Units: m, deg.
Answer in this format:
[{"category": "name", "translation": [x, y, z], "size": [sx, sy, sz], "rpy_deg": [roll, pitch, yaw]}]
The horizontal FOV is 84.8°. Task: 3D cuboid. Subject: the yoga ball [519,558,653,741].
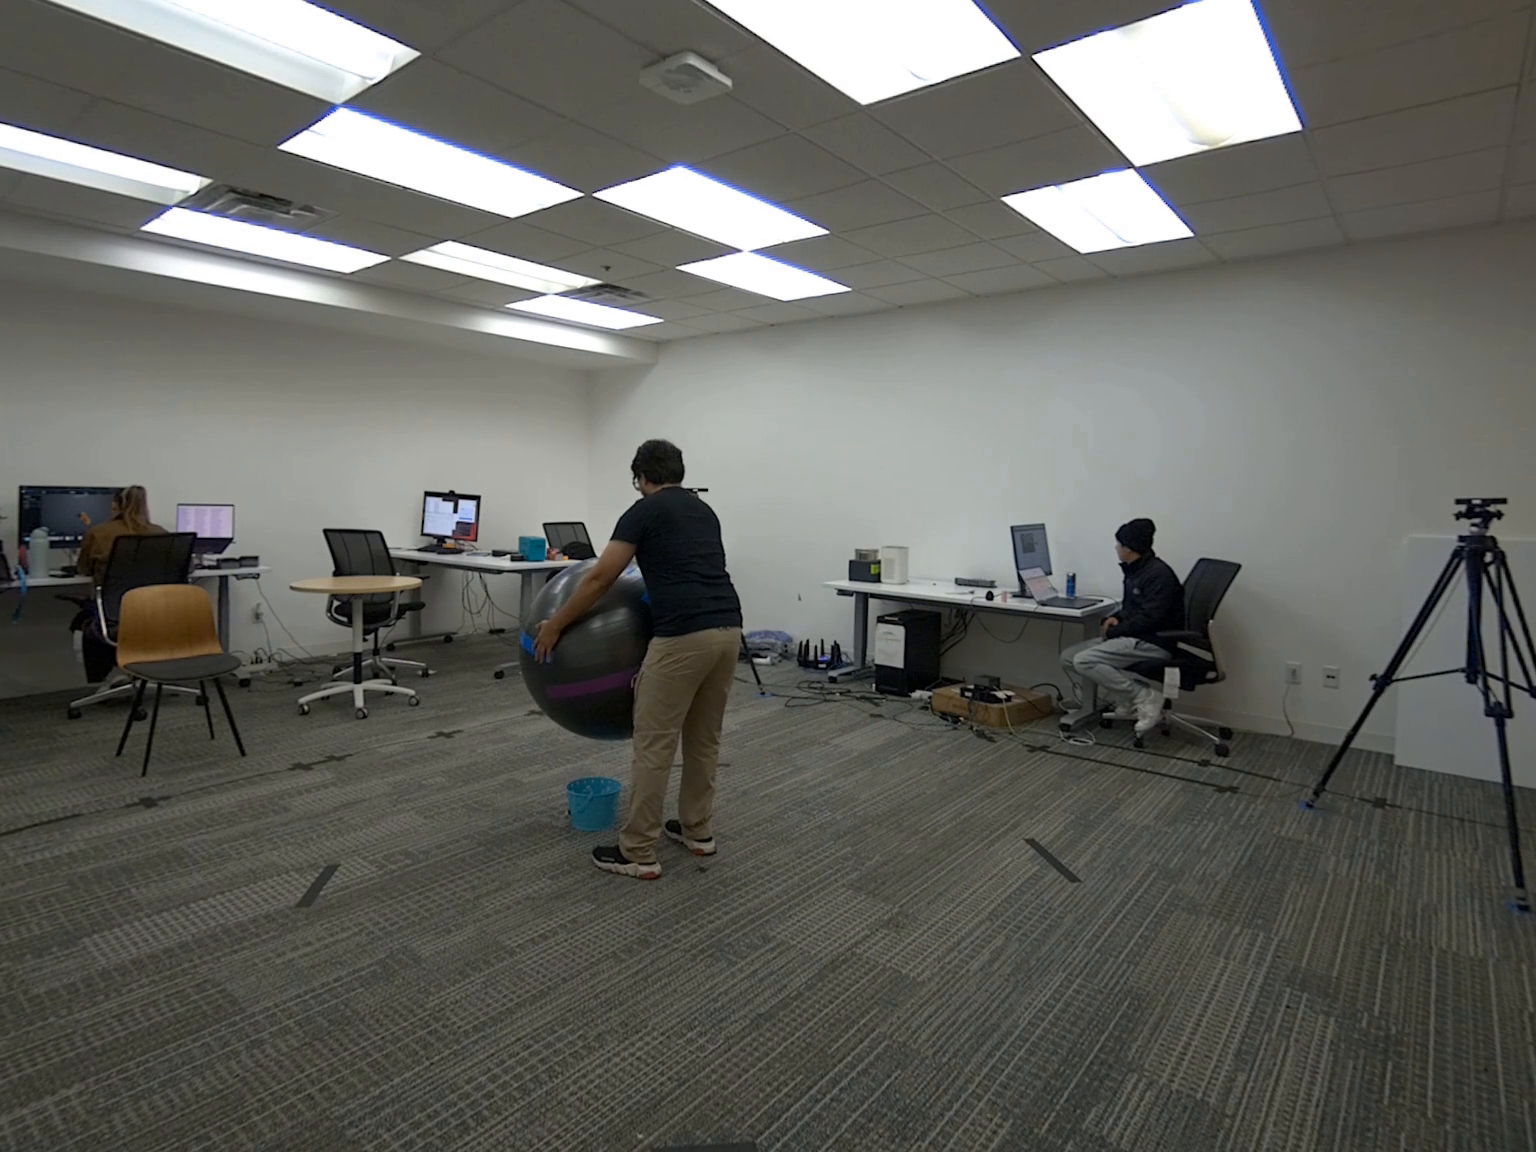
[{"category": "yoga ball", "translation": [-0.679, 0.306, 3.564], "size": [0.757, 0.756, 0.761], "rpy_deg": [1, 4, -2]}]
